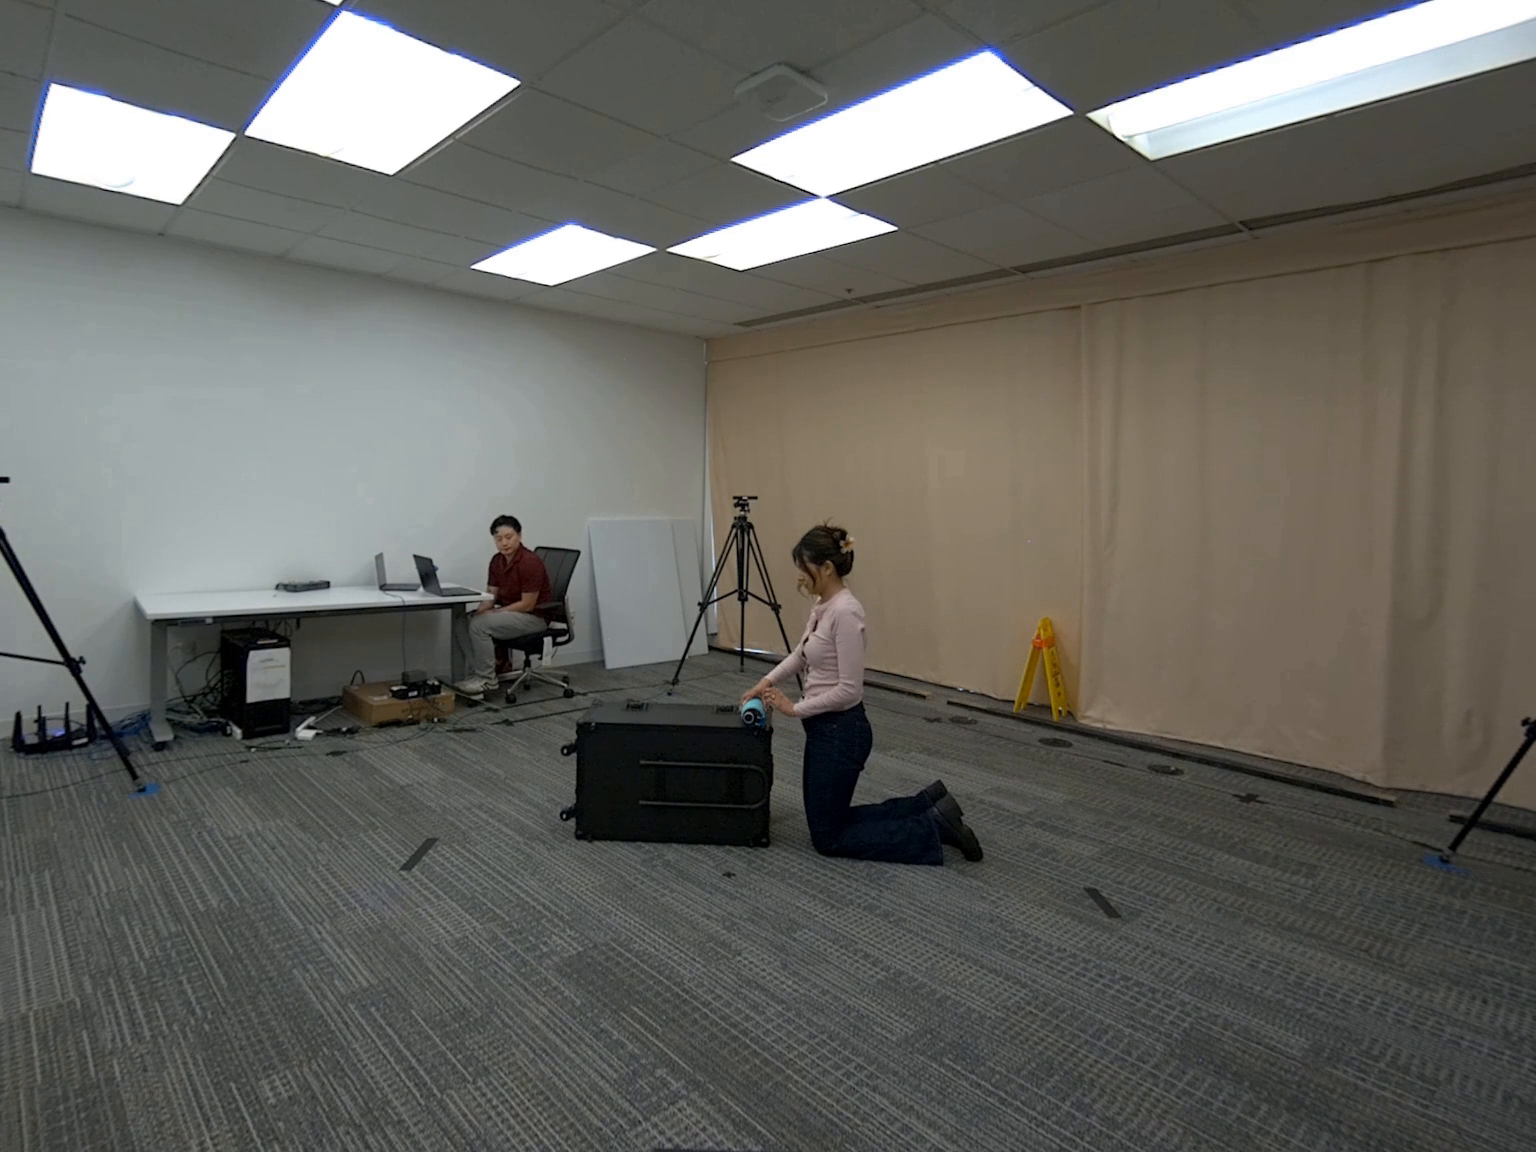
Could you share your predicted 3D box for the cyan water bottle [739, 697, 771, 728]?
[{"bbox_3d":[-0.067,0.545,3.430,0.092,0.092,0.285,1,6,-2],"label":"cyan water bottle"}]
